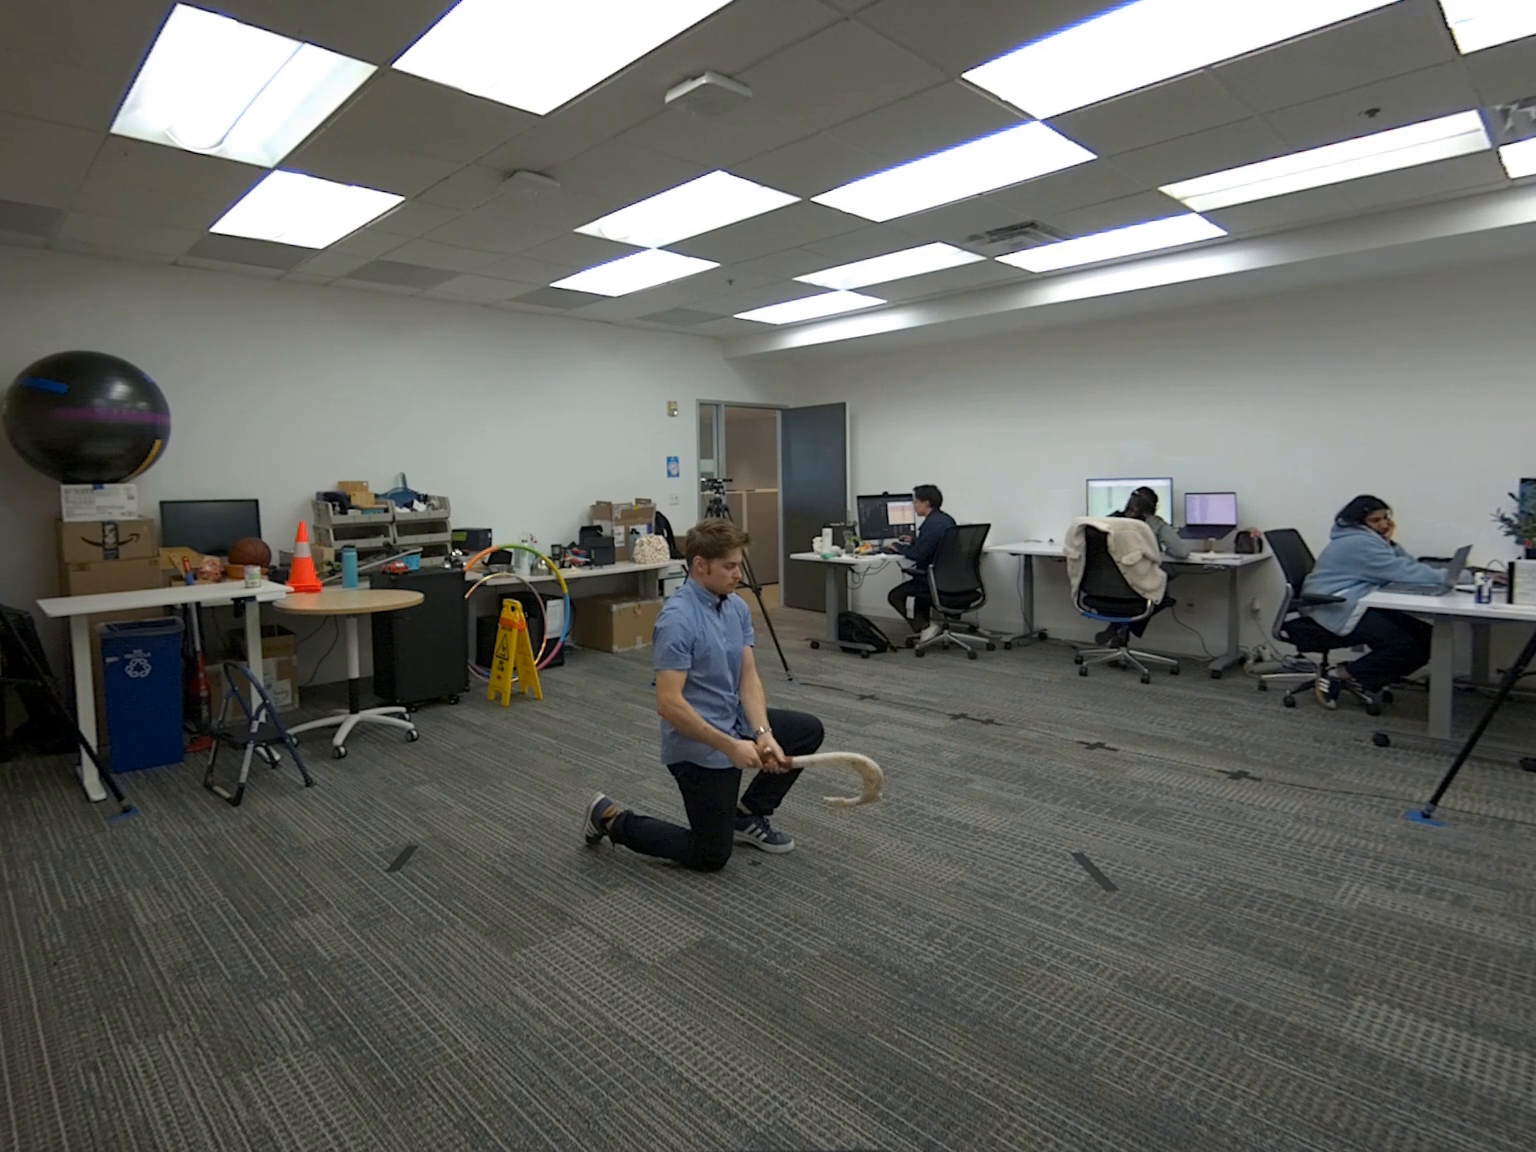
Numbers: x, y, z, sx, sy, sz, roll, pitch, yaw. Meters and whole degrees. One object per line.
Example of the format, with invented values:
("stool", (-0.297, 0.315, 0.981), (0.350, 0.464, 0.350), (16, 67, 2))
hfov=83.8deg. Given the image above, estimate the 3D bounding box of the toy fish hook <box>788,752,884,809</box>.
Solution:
("toy fish hook", (0.132, 0.668, 2.903), (0.511, 0.222, 0.048), (4, 14, 9))
